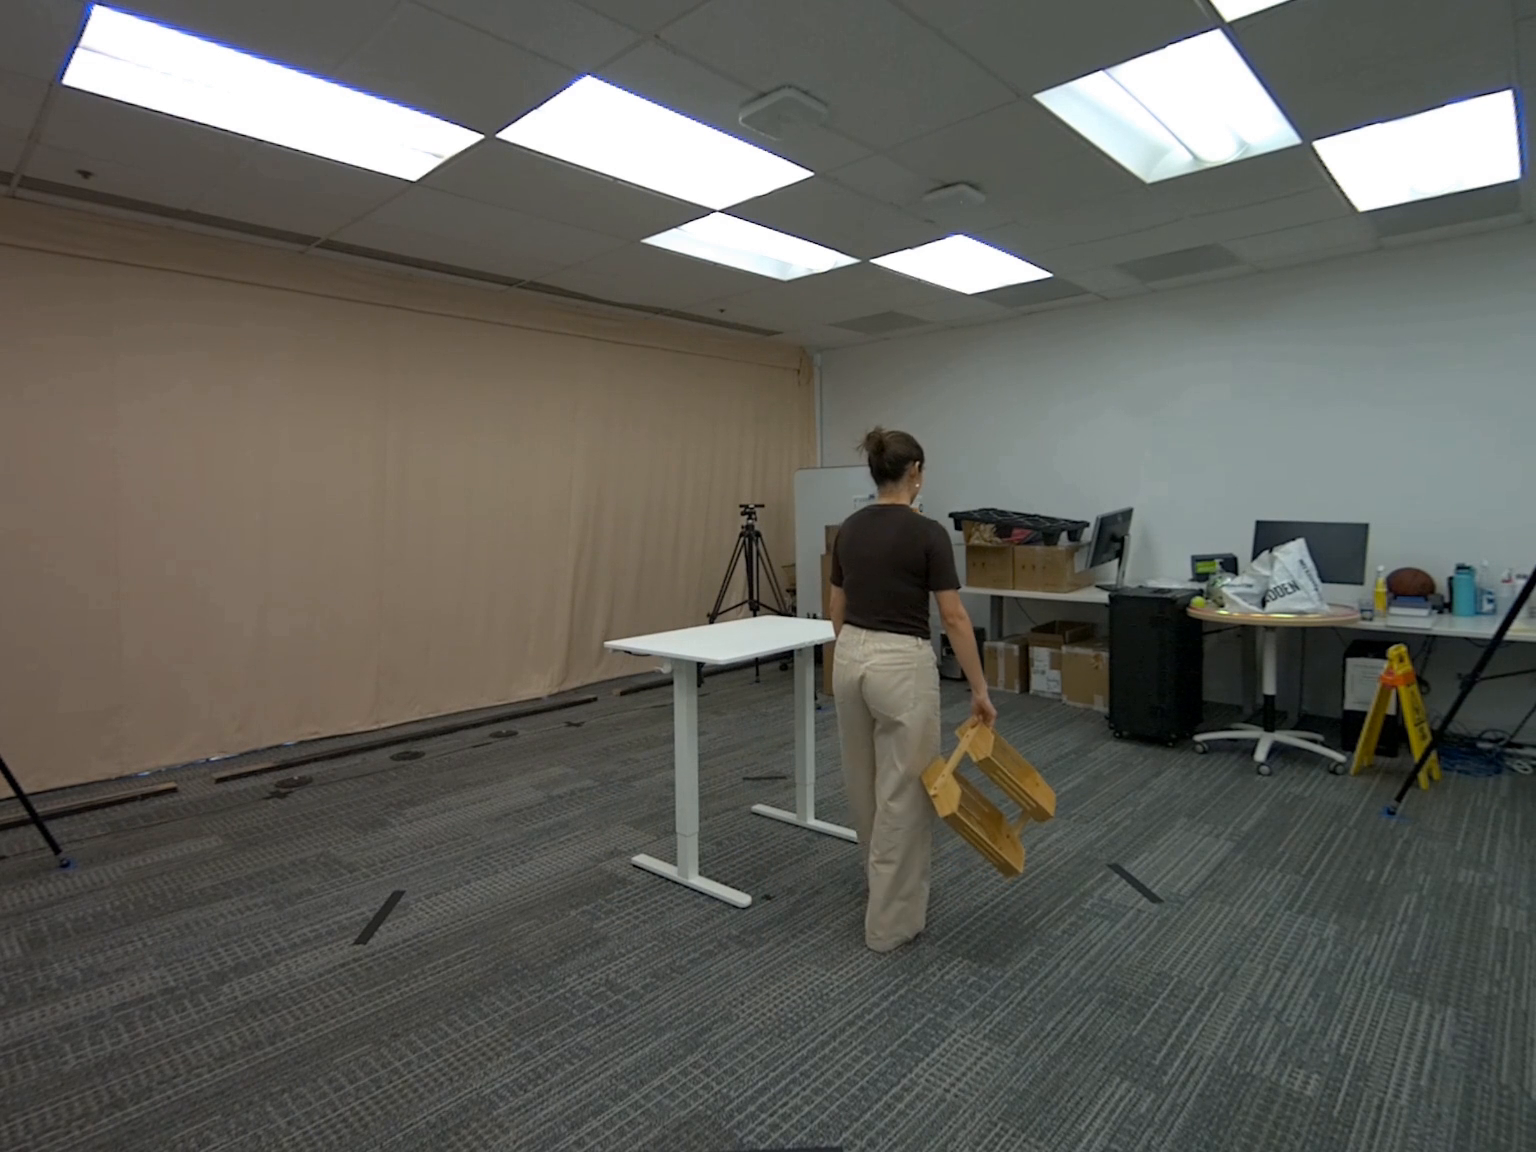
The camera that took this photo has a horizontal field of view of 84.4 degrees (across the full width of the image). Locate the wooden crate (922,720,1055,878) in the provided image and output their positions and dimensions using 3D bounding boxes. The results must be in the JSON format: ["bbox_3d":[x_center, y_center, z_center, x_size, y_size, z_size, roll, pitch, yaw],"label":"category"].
[{"bbox_3d":[0.695,0.665,2.526,0.318,0.274,0.307,43,10,-16],"label":"wooden crate"}]
